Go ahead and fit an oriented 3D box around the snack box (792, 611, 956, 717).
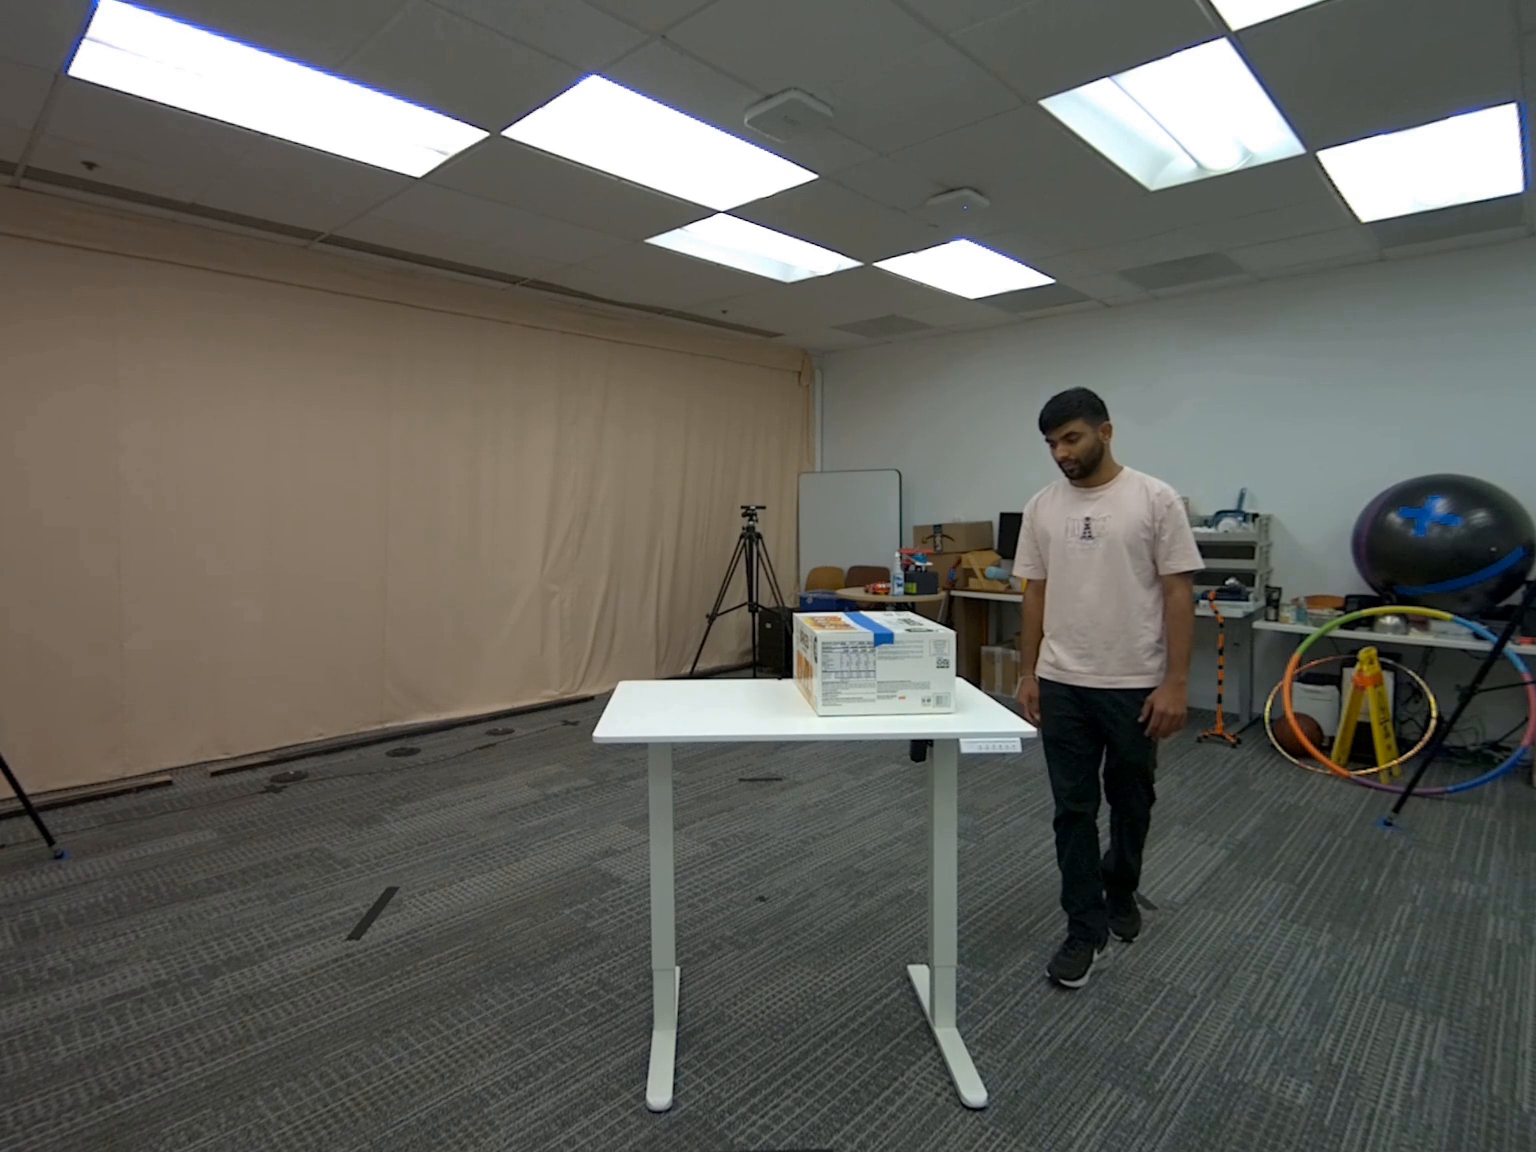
[{"bbox_3d":[0.271,0.222,2.234,0.339,0.205,0.408,-1,5,-5],"label":"snack box"}]
